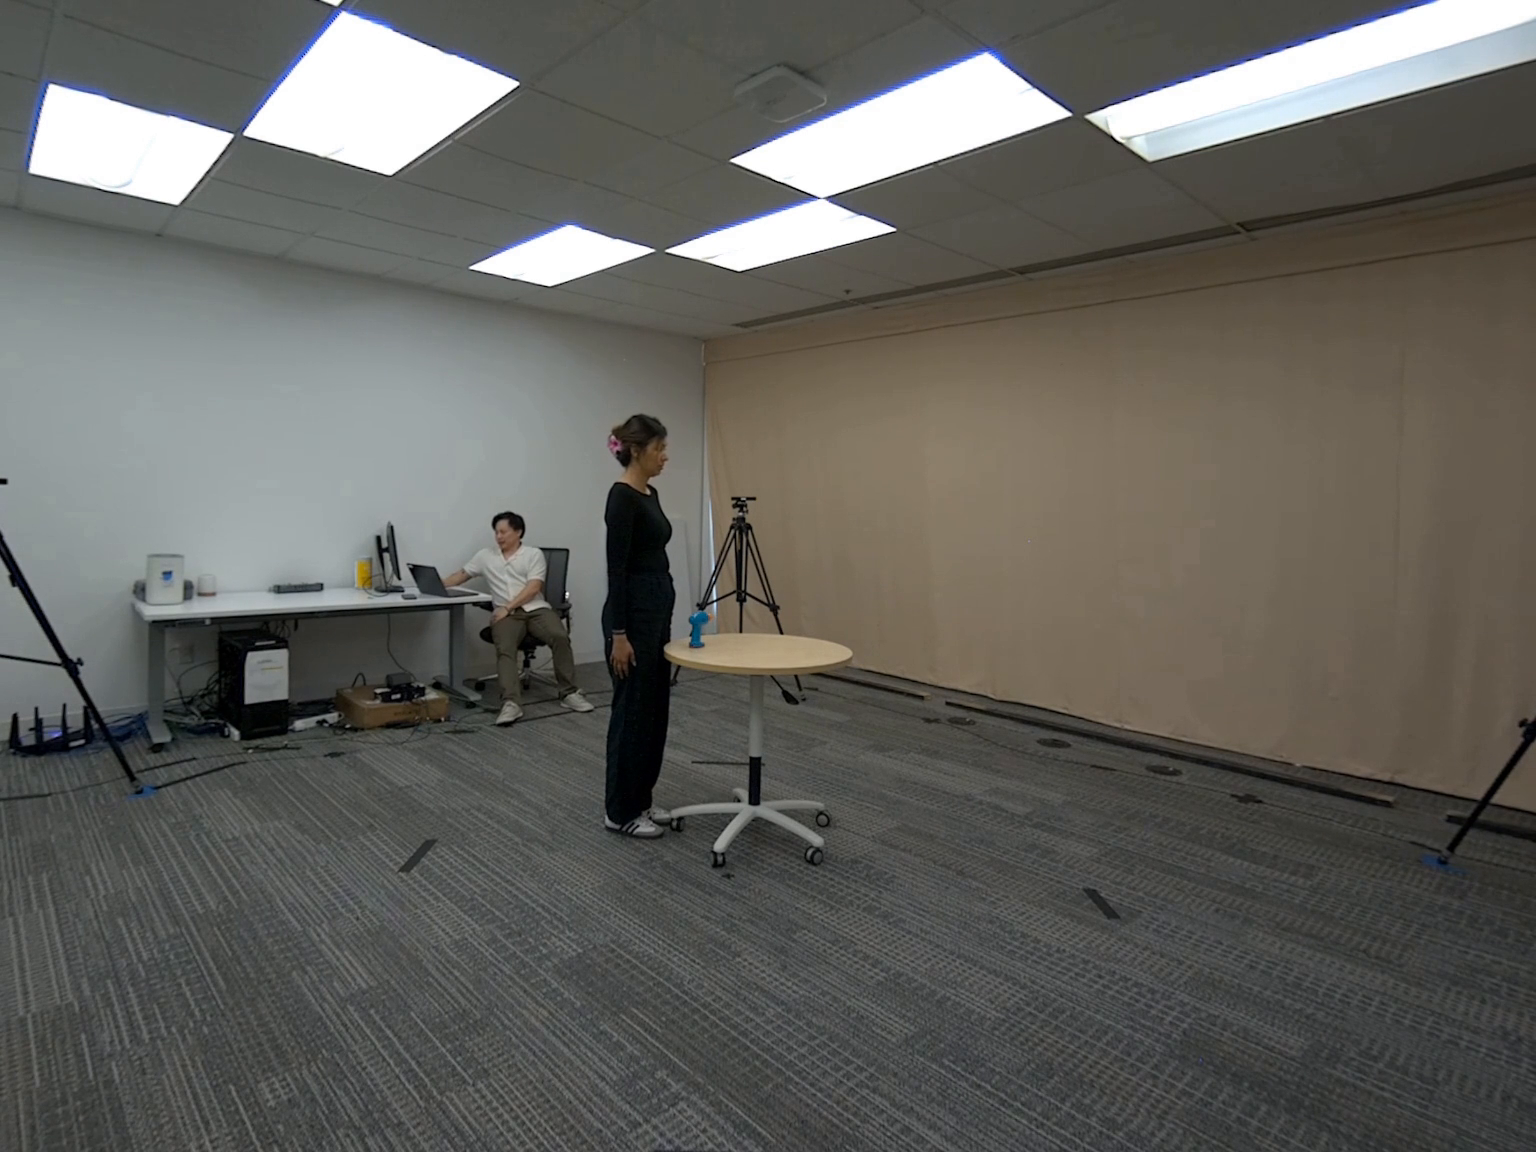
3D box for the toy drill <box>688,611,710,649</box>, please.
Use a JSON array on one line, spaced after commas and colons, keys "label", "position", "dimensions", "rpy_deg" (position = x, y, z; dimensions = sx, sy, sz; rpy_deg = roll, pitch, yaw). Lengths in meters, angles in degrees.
[{"label": "toy drill", "position": [-0.285, 0.213, 3.483], "dimensions": [0.062, 0.146, 0.167], "rpy_deg": [3, 4, 26]}]
